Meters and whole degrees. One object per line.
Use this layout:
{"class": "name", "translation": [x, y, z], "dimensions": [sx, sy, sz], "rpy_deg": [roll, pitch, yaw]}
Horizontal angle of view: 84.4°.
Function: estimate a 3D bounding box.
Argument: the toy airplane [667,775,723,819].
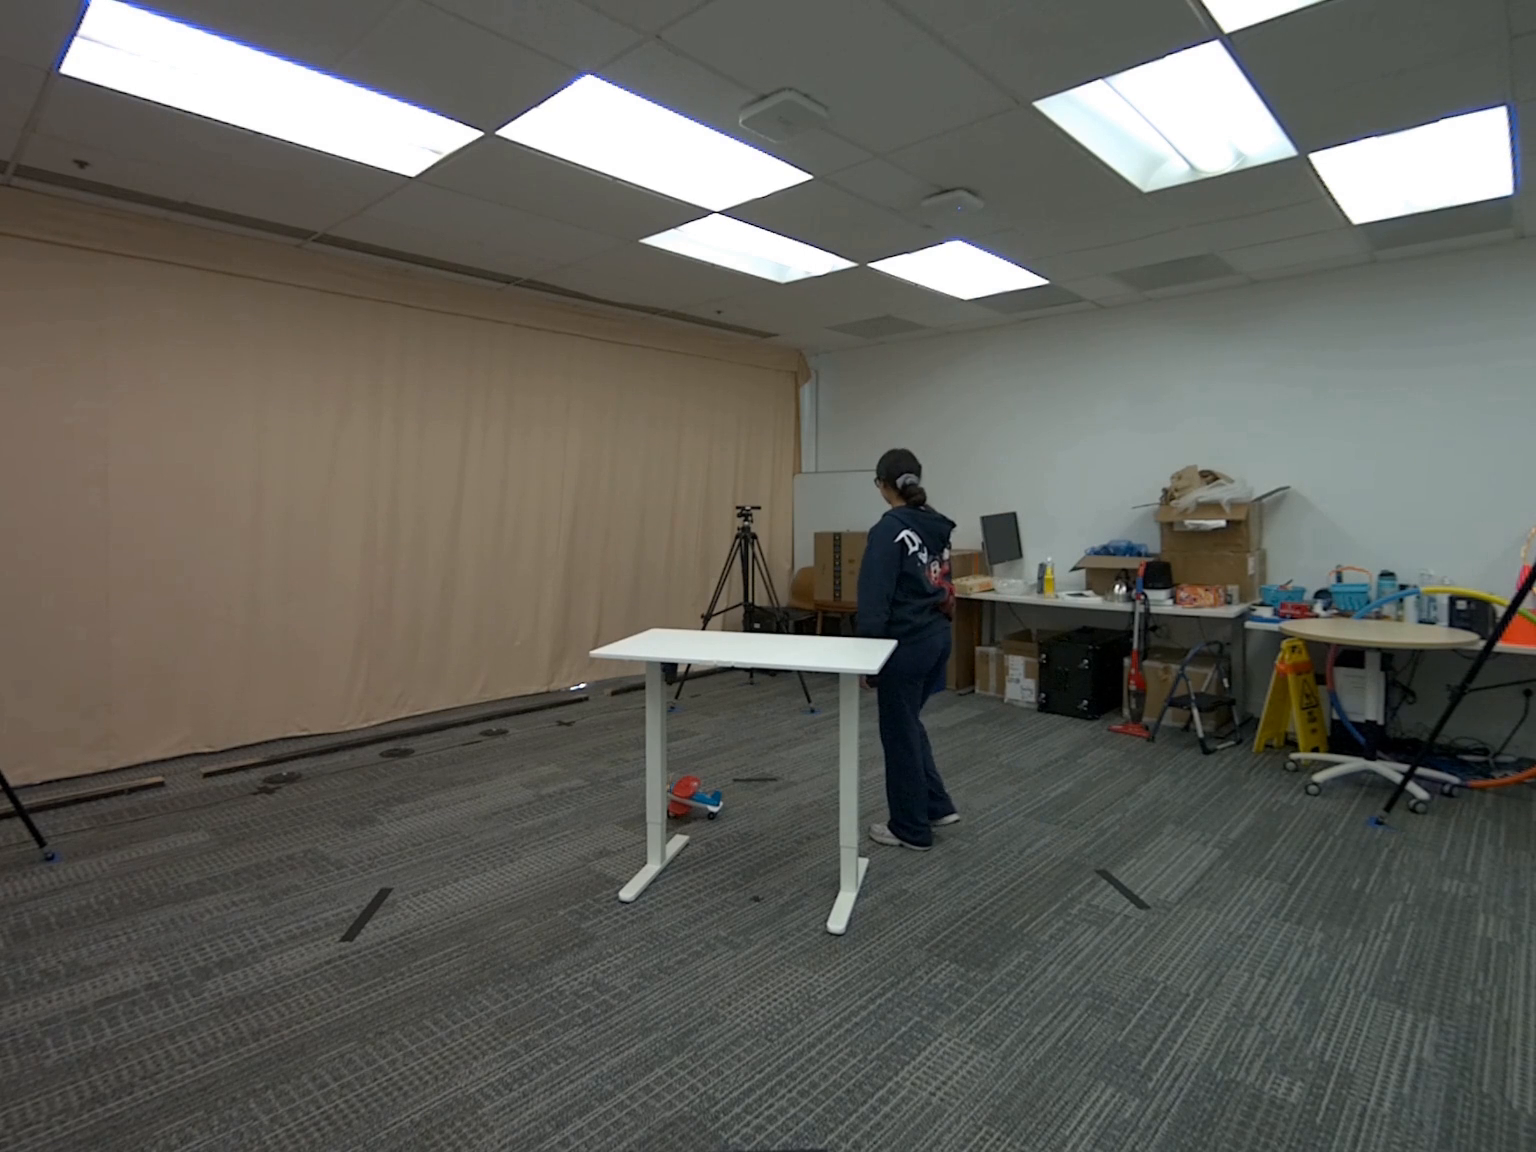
{"class": "toy airplane", "translation": [-0.316, 1.008, 3.805], "dimensions": [0.255, 0.156, 0.255], "rpy_deg": [-4, 4, -15]}
